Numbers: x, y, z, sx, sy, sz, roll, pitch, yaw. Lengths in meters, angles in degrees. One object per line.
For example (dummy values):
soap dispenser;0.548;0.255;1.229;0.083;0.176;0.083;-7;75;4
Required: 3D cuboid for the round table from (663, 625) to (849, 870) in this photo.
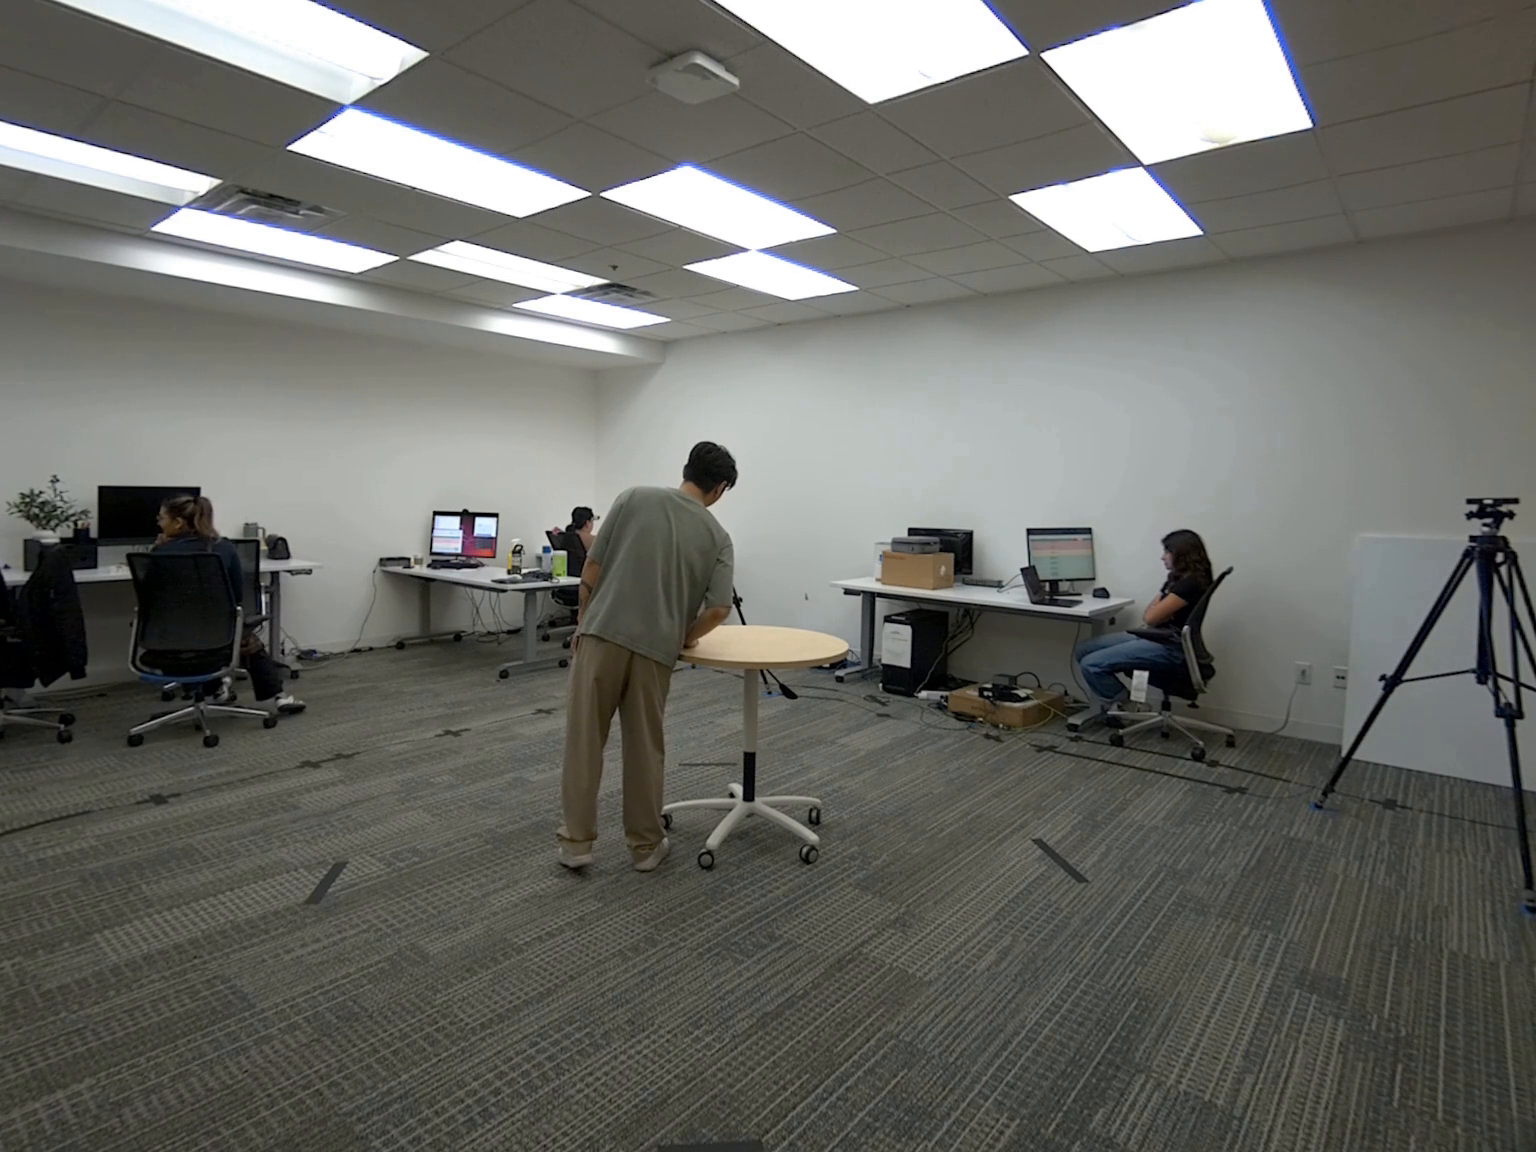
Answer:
round table;-0.083;0.651;3.416;0.763;0.791;0.768;1;4;-2
